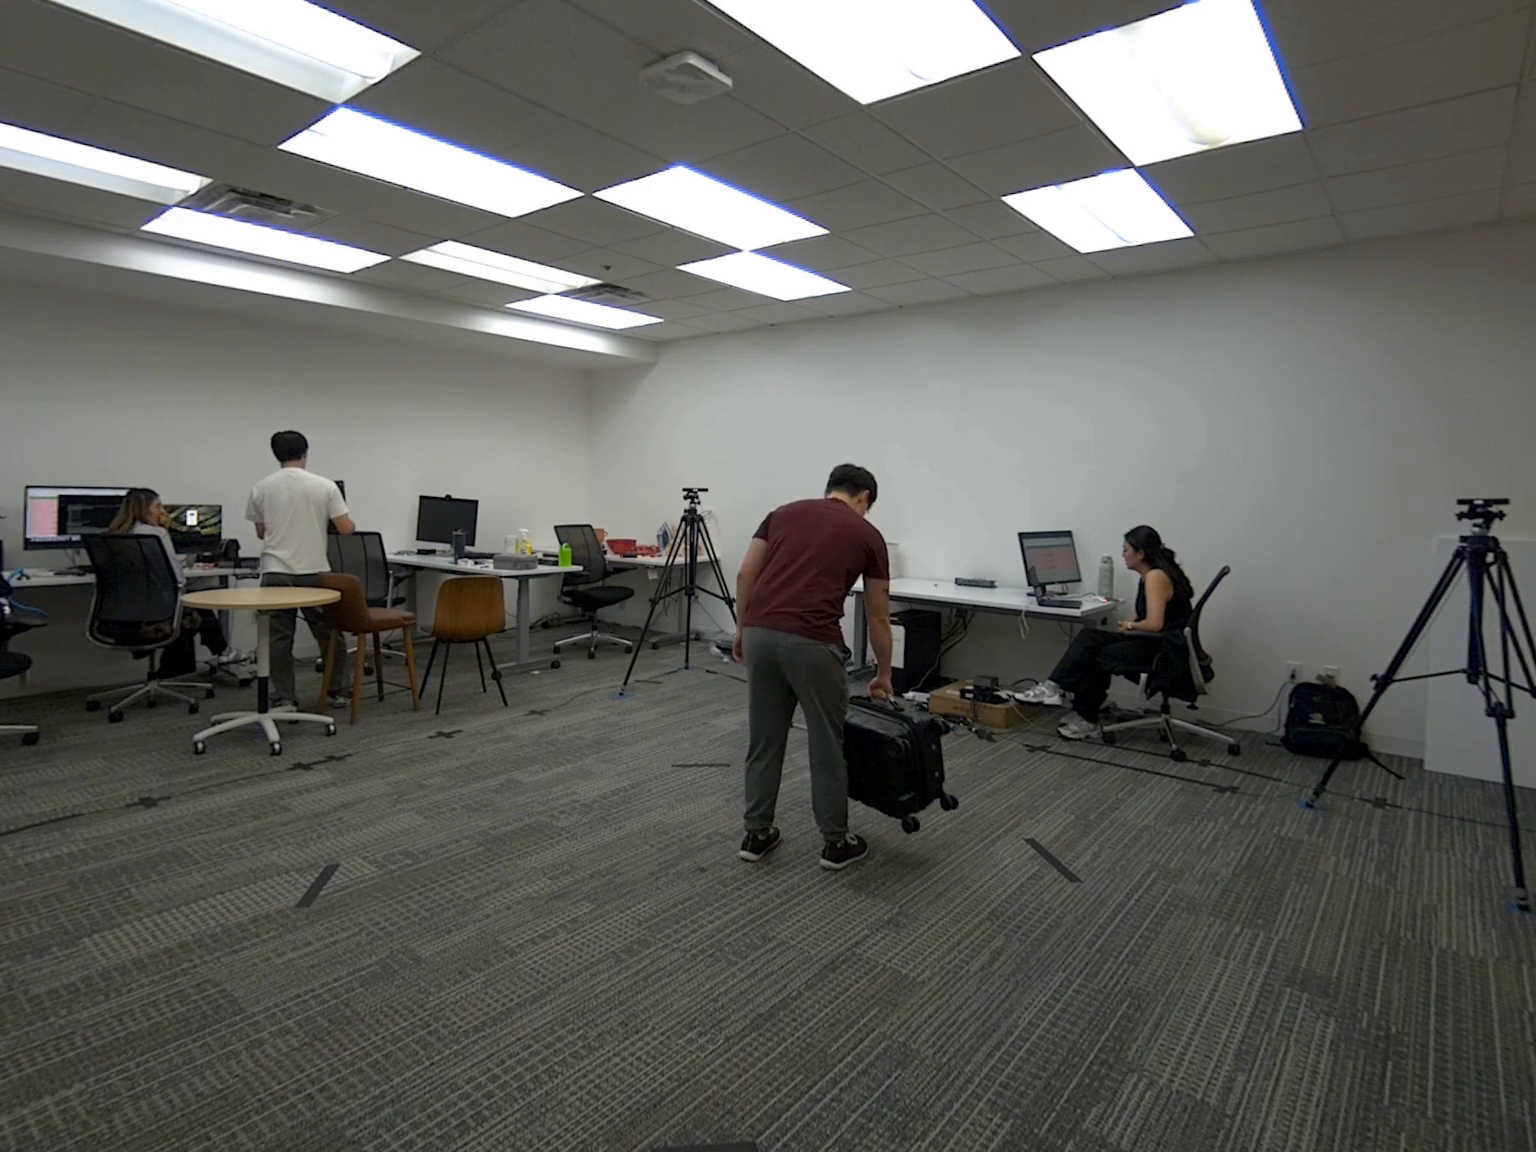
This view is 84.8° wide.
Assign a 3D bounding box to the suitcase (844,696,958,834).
[{"bbox_3d":[0.295,0.666,3.461,0.251,0.380,1.010,-13,12,-34],"label":"suitcase"}]
